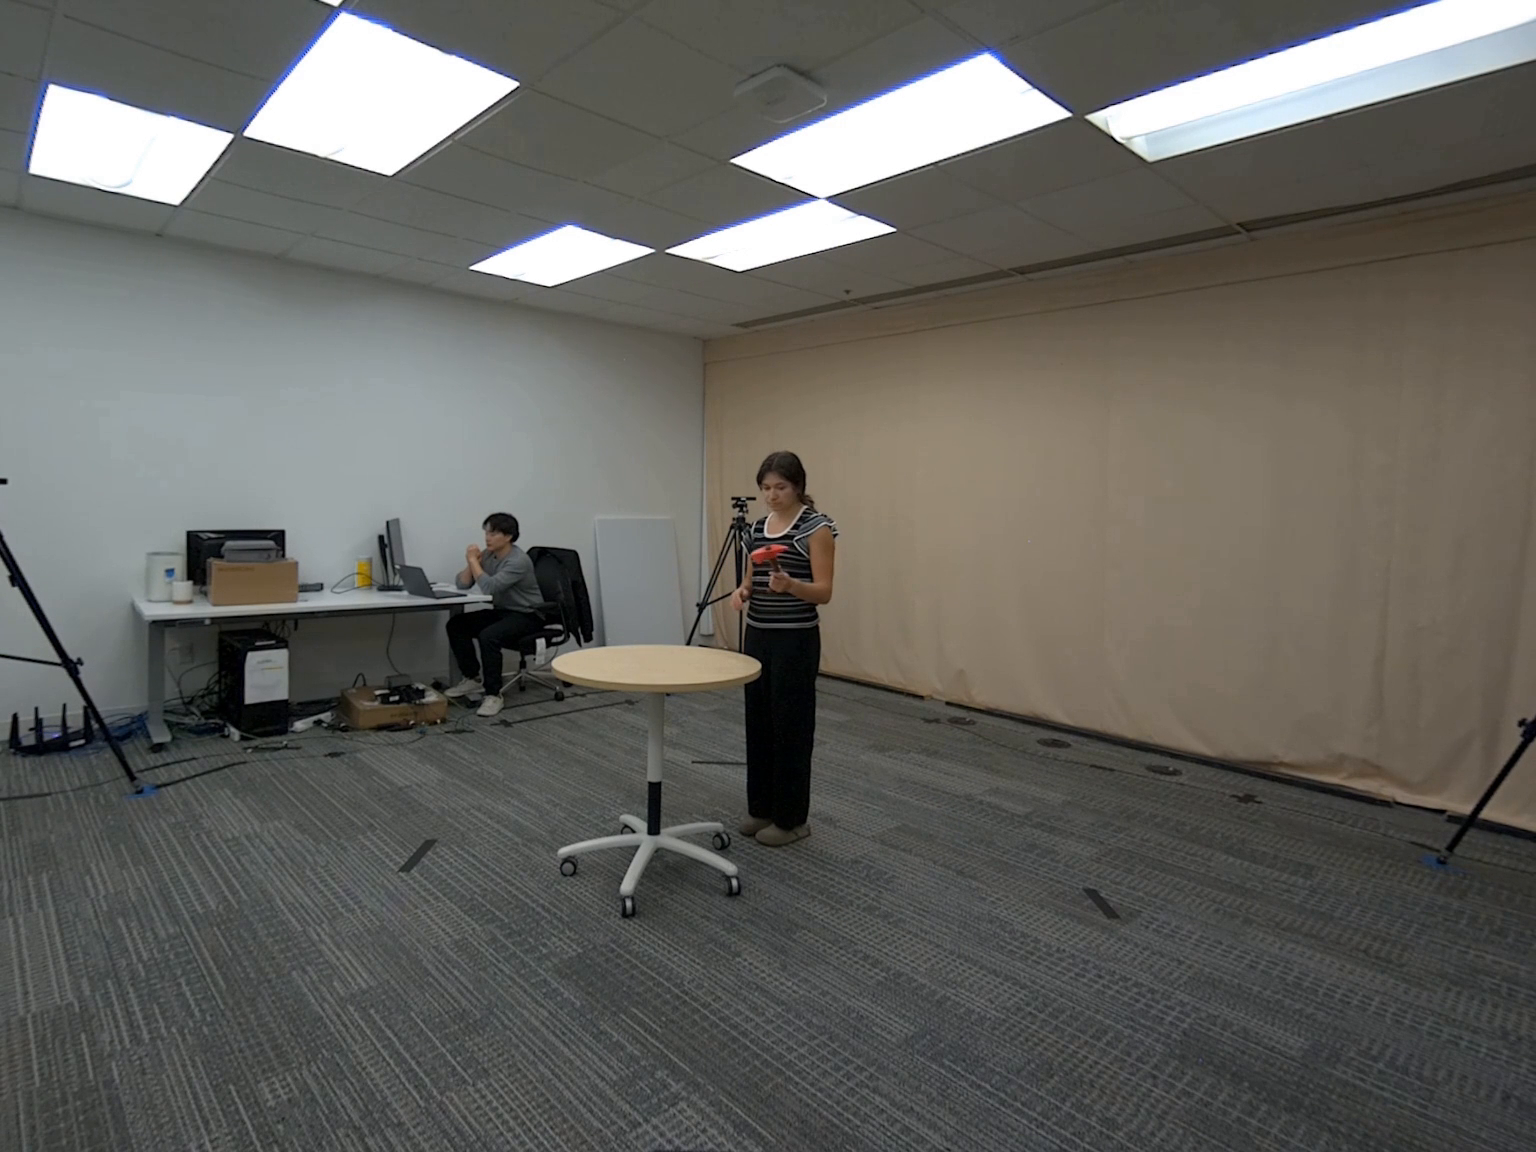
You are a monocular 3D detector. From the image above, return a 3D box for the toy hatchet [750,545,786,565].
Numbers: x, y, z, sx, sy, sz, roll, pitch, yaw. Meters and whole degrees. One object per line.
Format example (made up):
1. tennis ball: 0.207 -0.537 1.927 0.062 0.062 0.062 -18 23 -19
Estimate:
1. toy hatchet: -0.024 -0.026 3.077 0.130 0.030 0.265 -7 -32 -7
